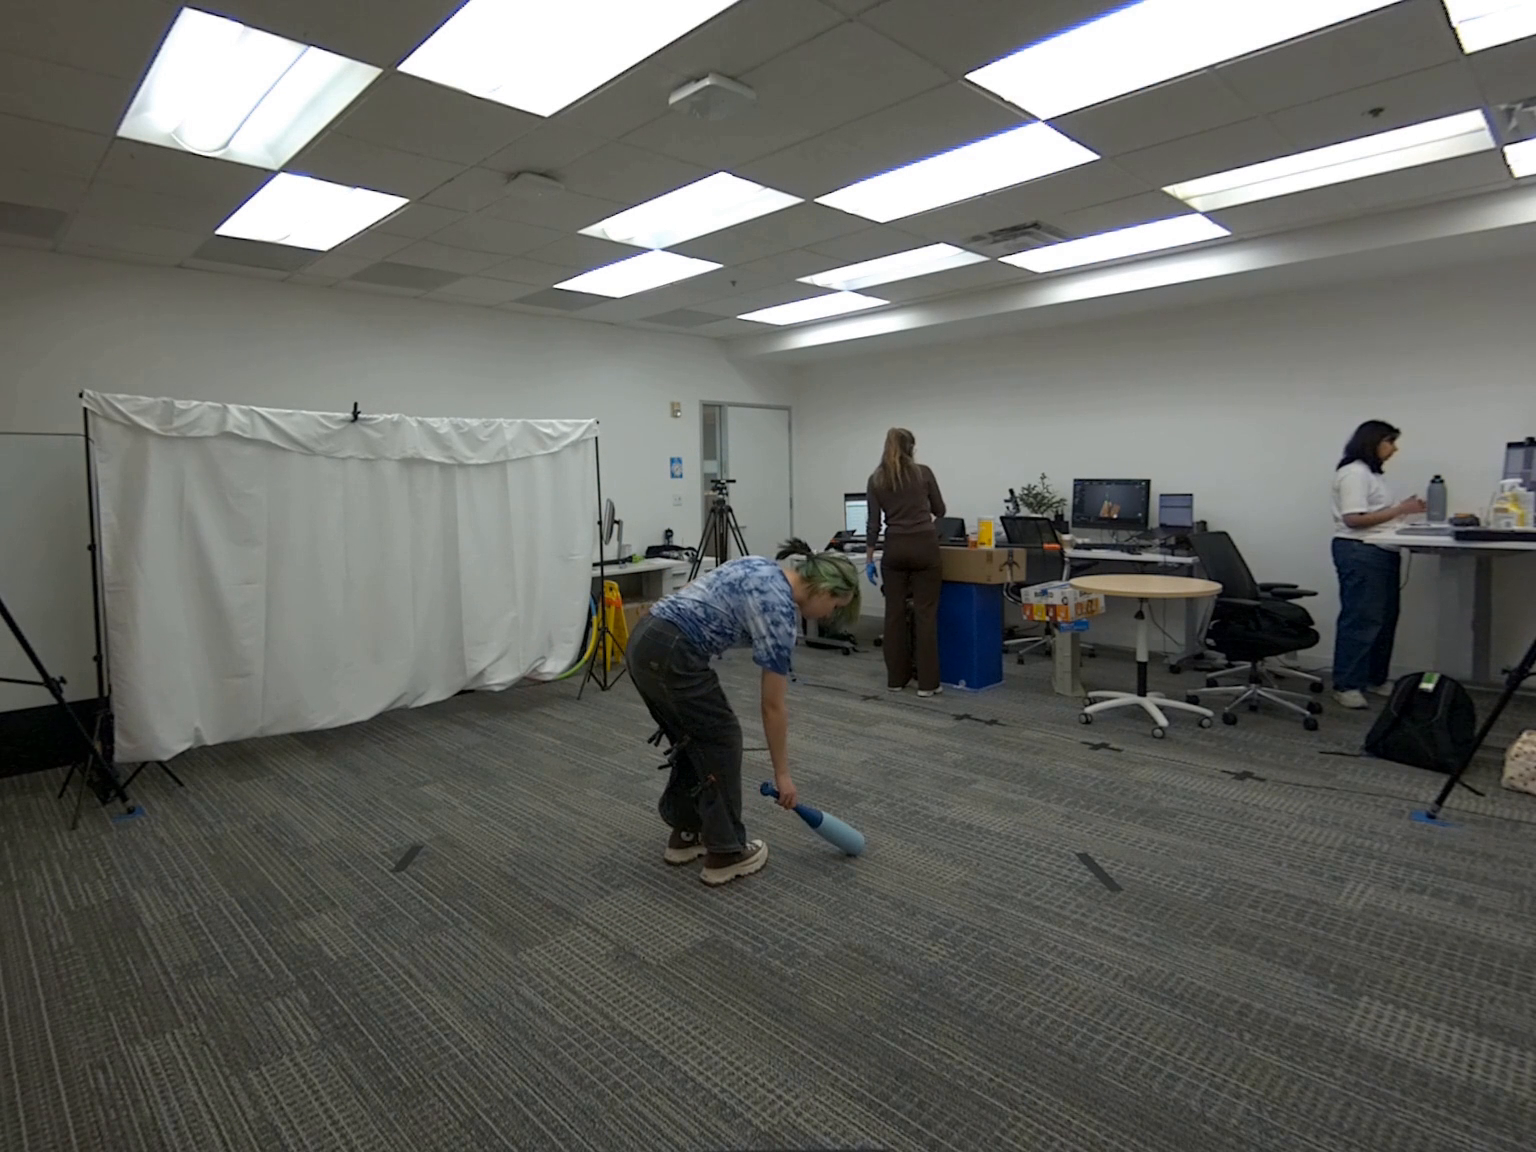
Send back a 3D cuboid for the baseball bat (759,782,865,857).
[{"bbox_3d":[0.152,0.860,3.055,0.525,0.089,0.091,37,-17,-30],"label":"baseball bat"}]
